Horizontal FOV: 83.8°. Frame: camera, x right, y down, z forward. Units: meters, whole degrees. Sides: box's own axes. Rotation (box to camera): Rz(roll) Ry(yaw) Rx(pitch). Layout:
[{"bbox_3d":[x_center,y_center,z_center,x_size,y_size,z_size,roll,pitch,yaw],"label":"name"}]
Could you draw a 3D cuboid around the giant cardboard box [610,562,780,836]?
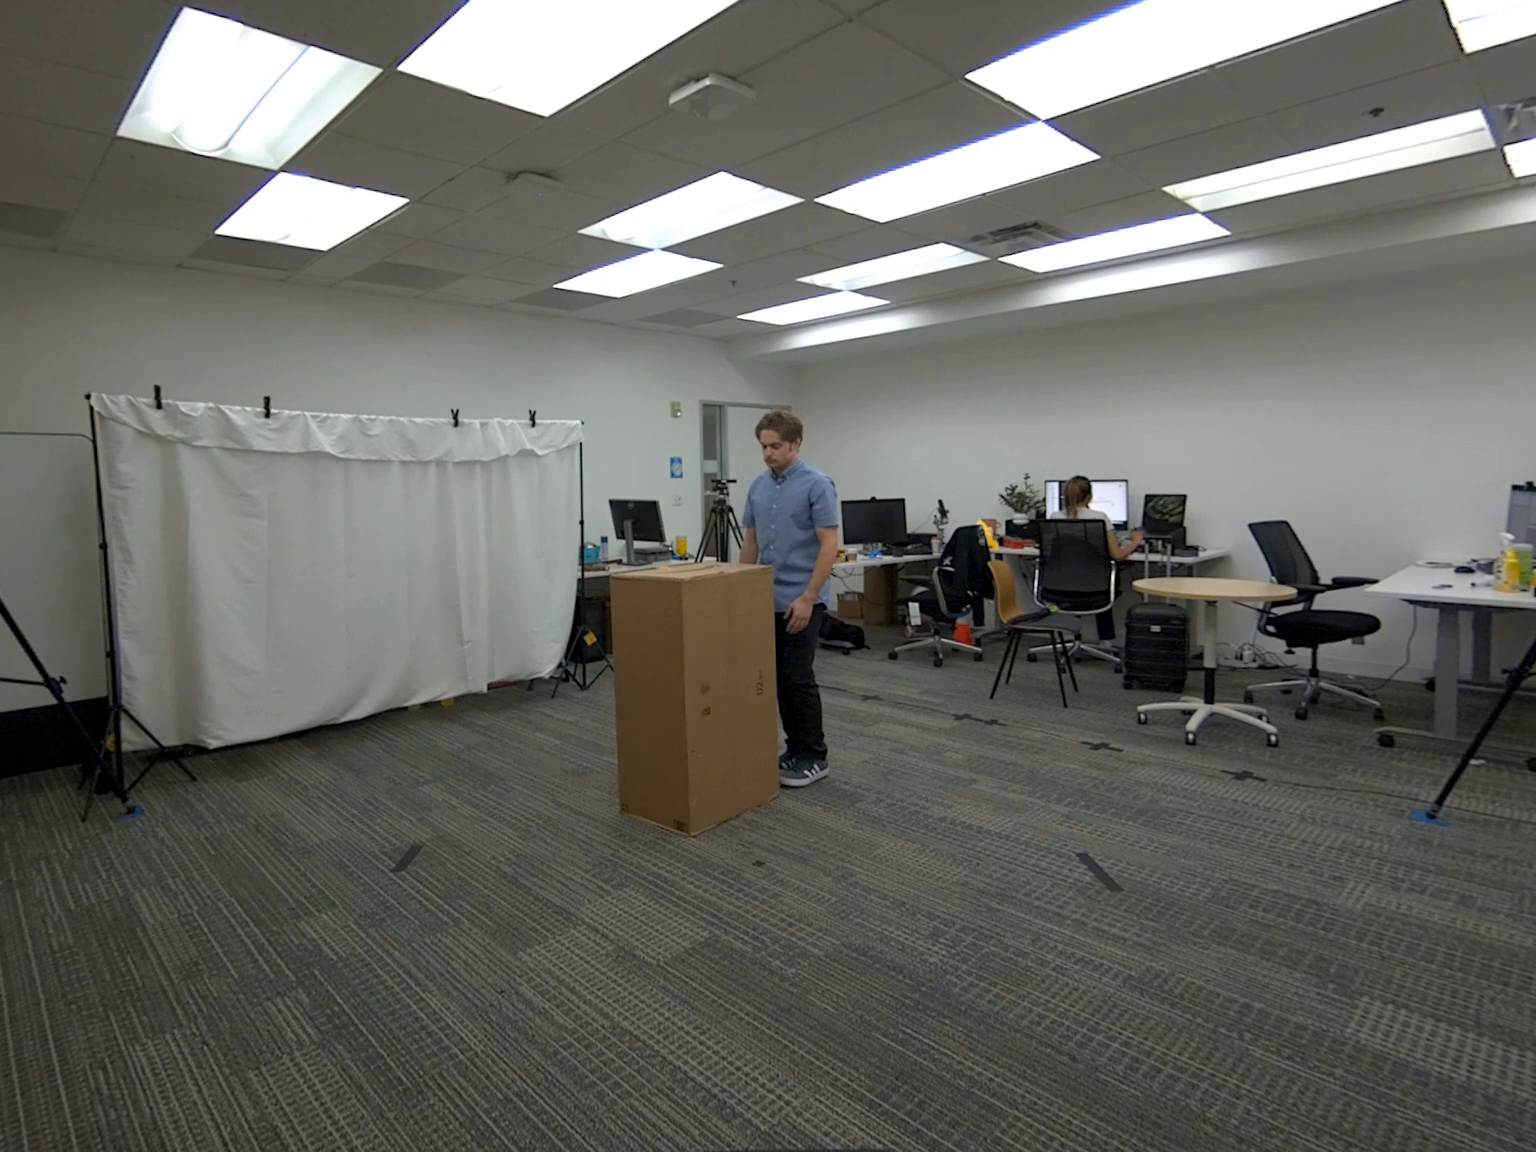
[{"bbox_3d":[-0.309,0.482,3.664,0.439,1.022,0.562,2,5,41],"label":"giant cardboard box"}]
